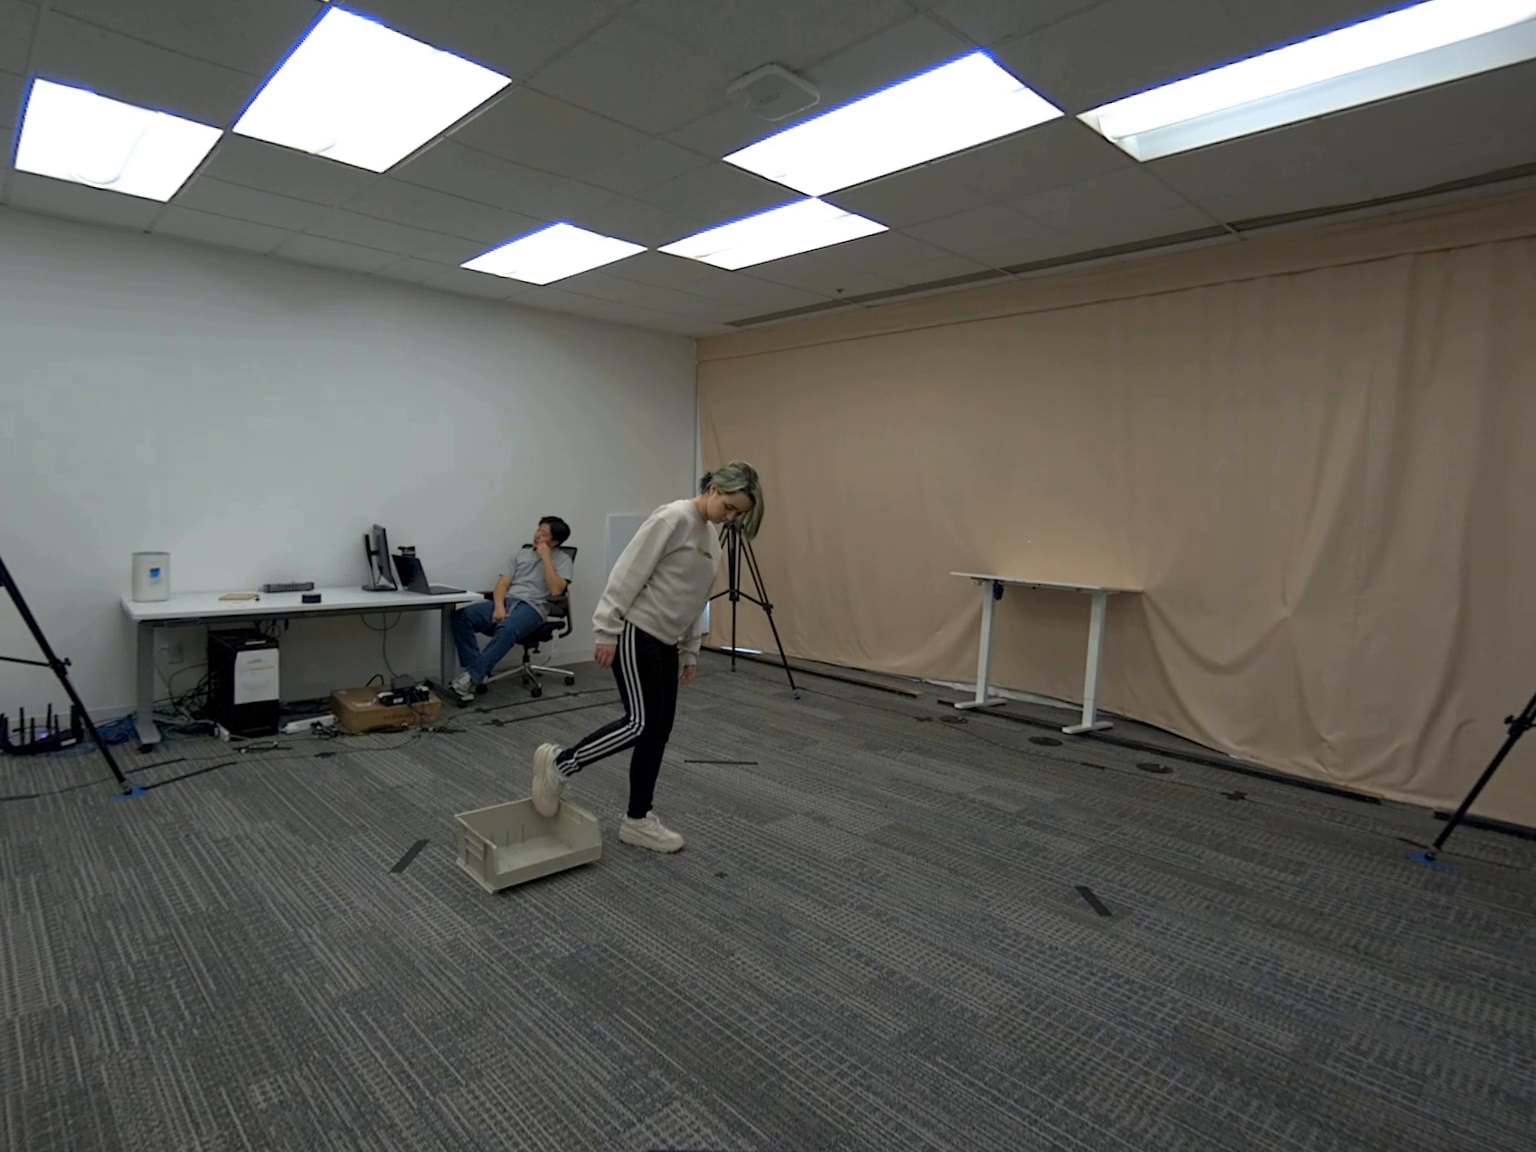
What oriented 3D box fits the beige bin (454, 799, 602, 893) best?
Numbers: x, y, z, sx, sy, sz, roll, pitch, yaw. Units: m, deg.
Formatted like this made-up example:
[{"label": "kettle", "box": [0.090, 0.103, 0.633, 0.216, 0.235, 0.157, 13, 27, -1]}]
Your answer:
[{"label": "beige bin", "box": [-0.907, 0.994, 3.141, 0.413, 0.188, 0.387, -3, 6, -41]}]
